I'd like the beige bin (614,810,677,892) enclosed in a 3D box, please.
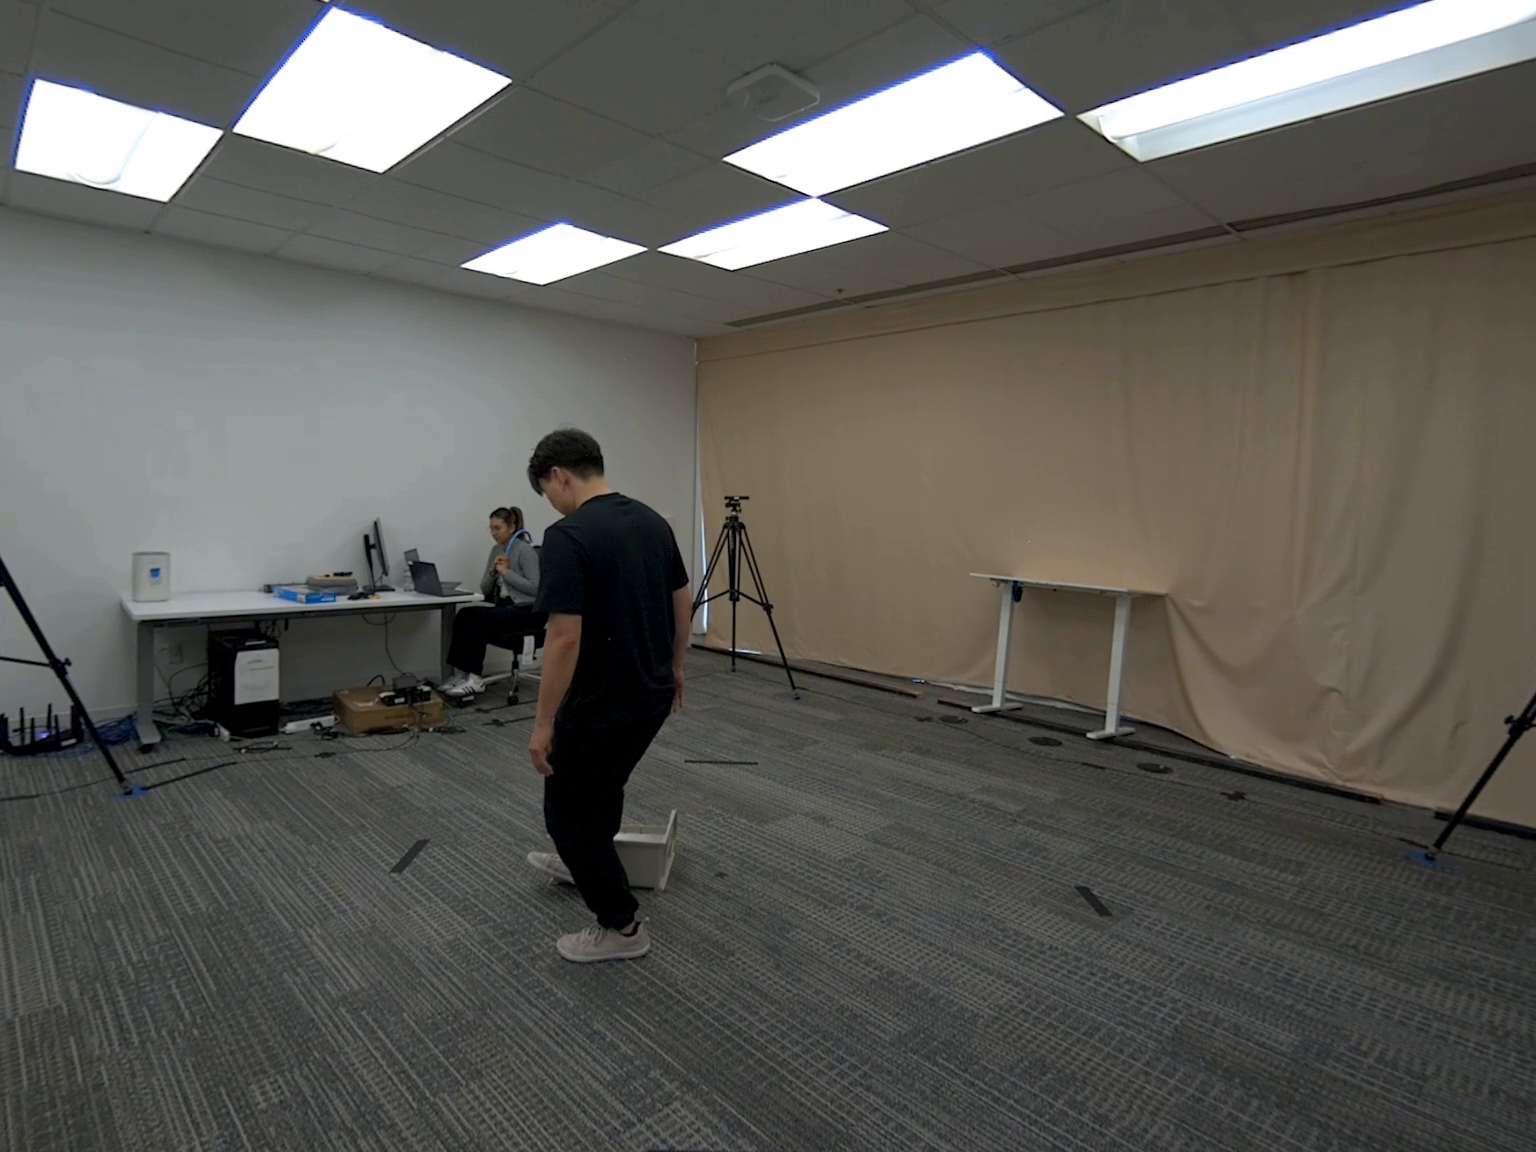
[{"bbox_3d":[-0.577,1.007,3.147,0.423,0.188,0.378,2,5,2],"label":"beige bin"}]
